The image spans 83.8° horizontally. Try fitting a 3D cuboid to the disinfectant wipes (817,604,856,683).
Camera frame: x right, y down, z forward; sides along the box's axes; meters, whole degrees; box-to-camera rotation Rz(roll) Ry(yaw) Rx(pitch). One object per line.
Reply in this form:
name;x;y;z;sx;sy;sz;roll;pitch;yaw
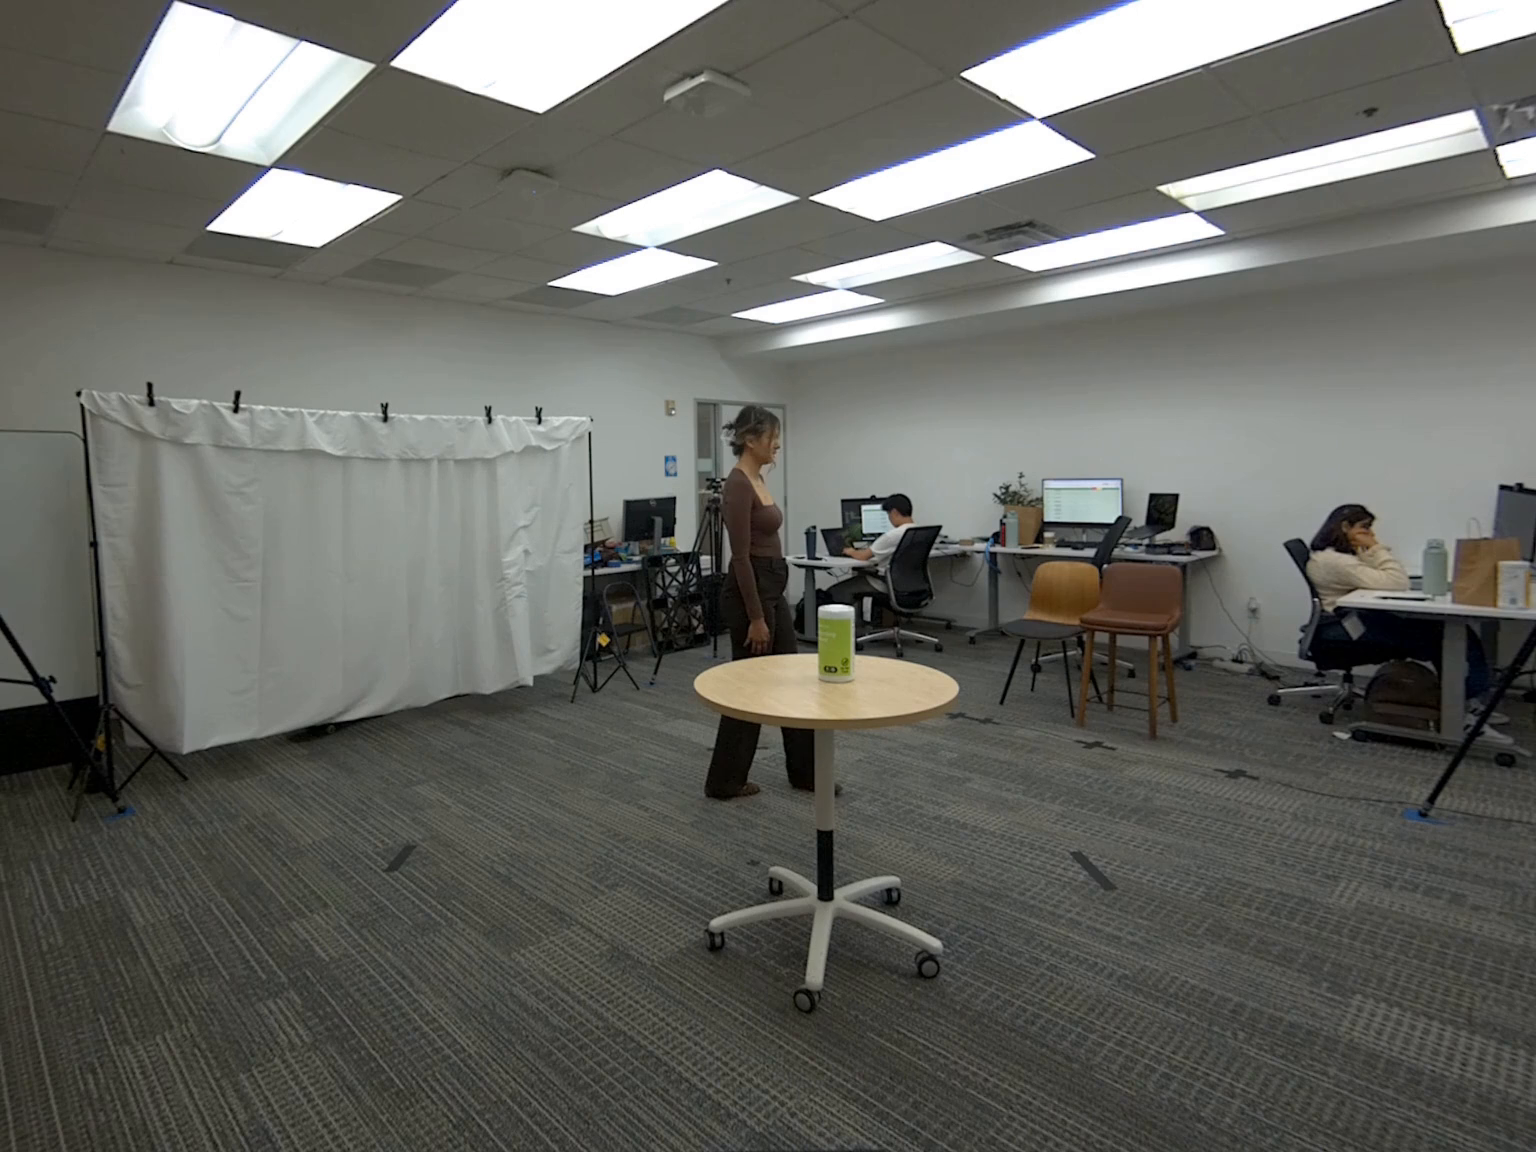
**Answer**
disinfectant wipes;0.208;0.202;2.535;0.118;0.216;0.118;-2;5;-1
